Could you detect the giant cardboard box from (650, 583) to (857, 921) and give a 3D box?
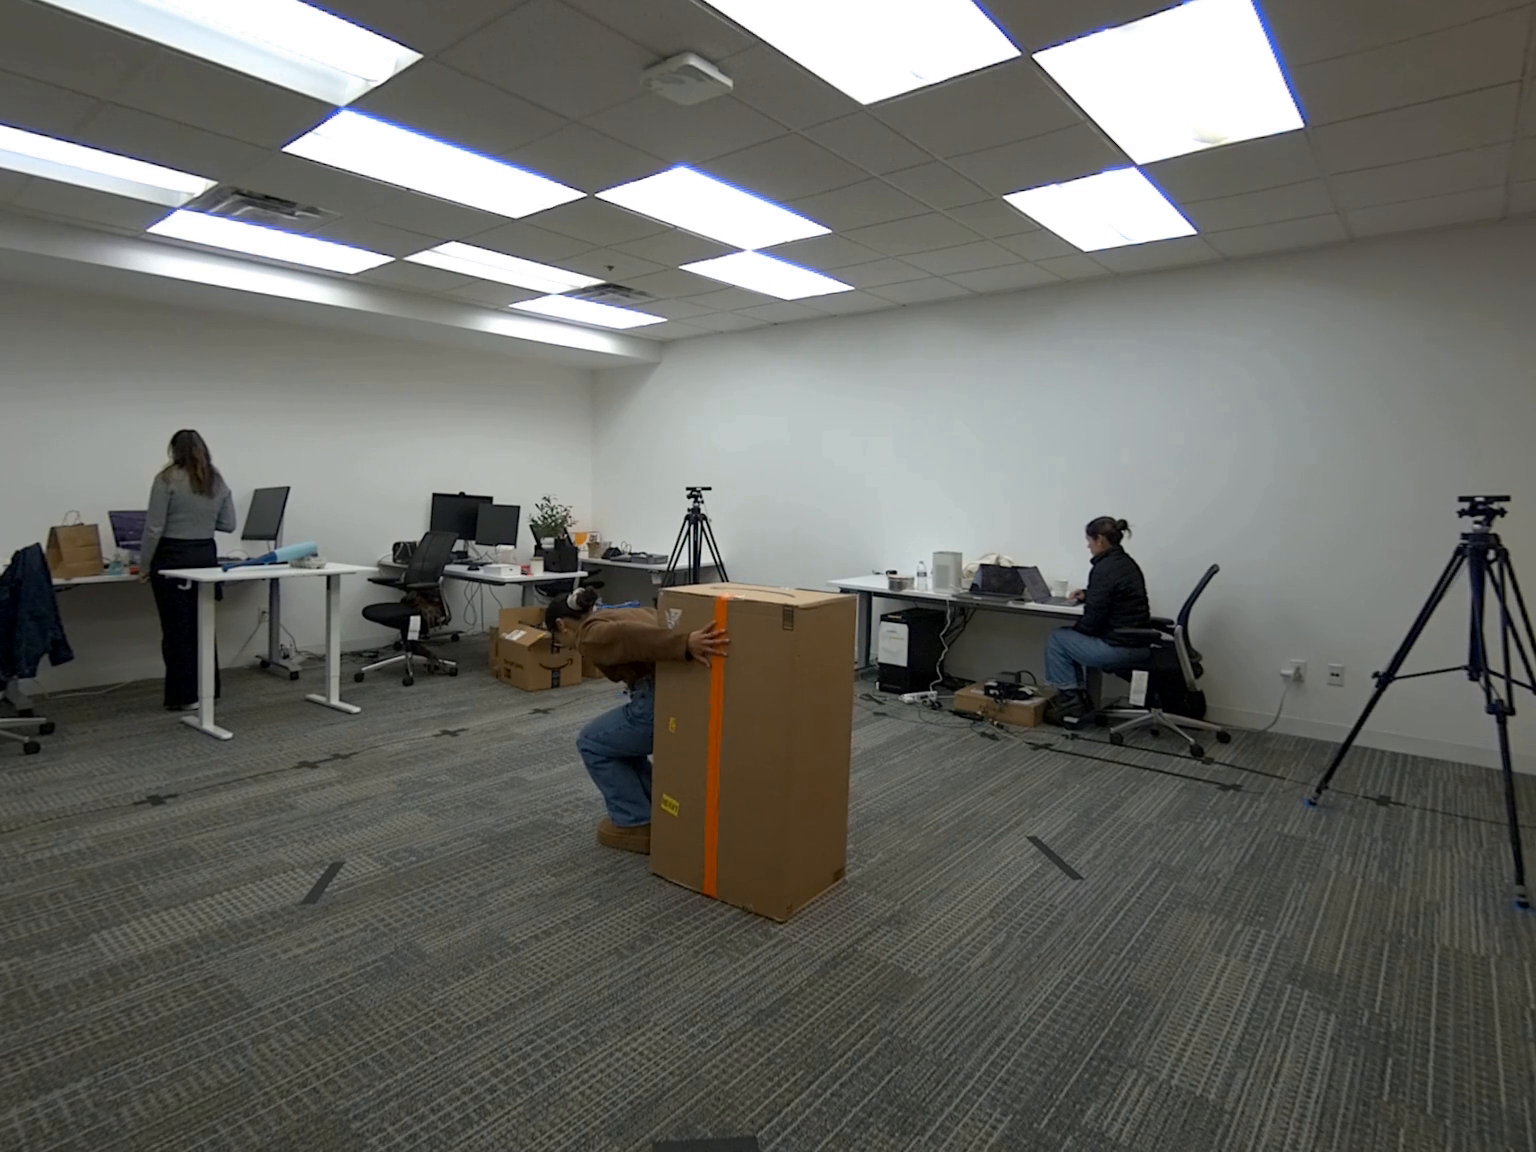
[{"bbox_3d":[-0.062,0.568,3.021,0.602,1.025,0.434,4,3,34],"label":"giant cardboard box"}]
